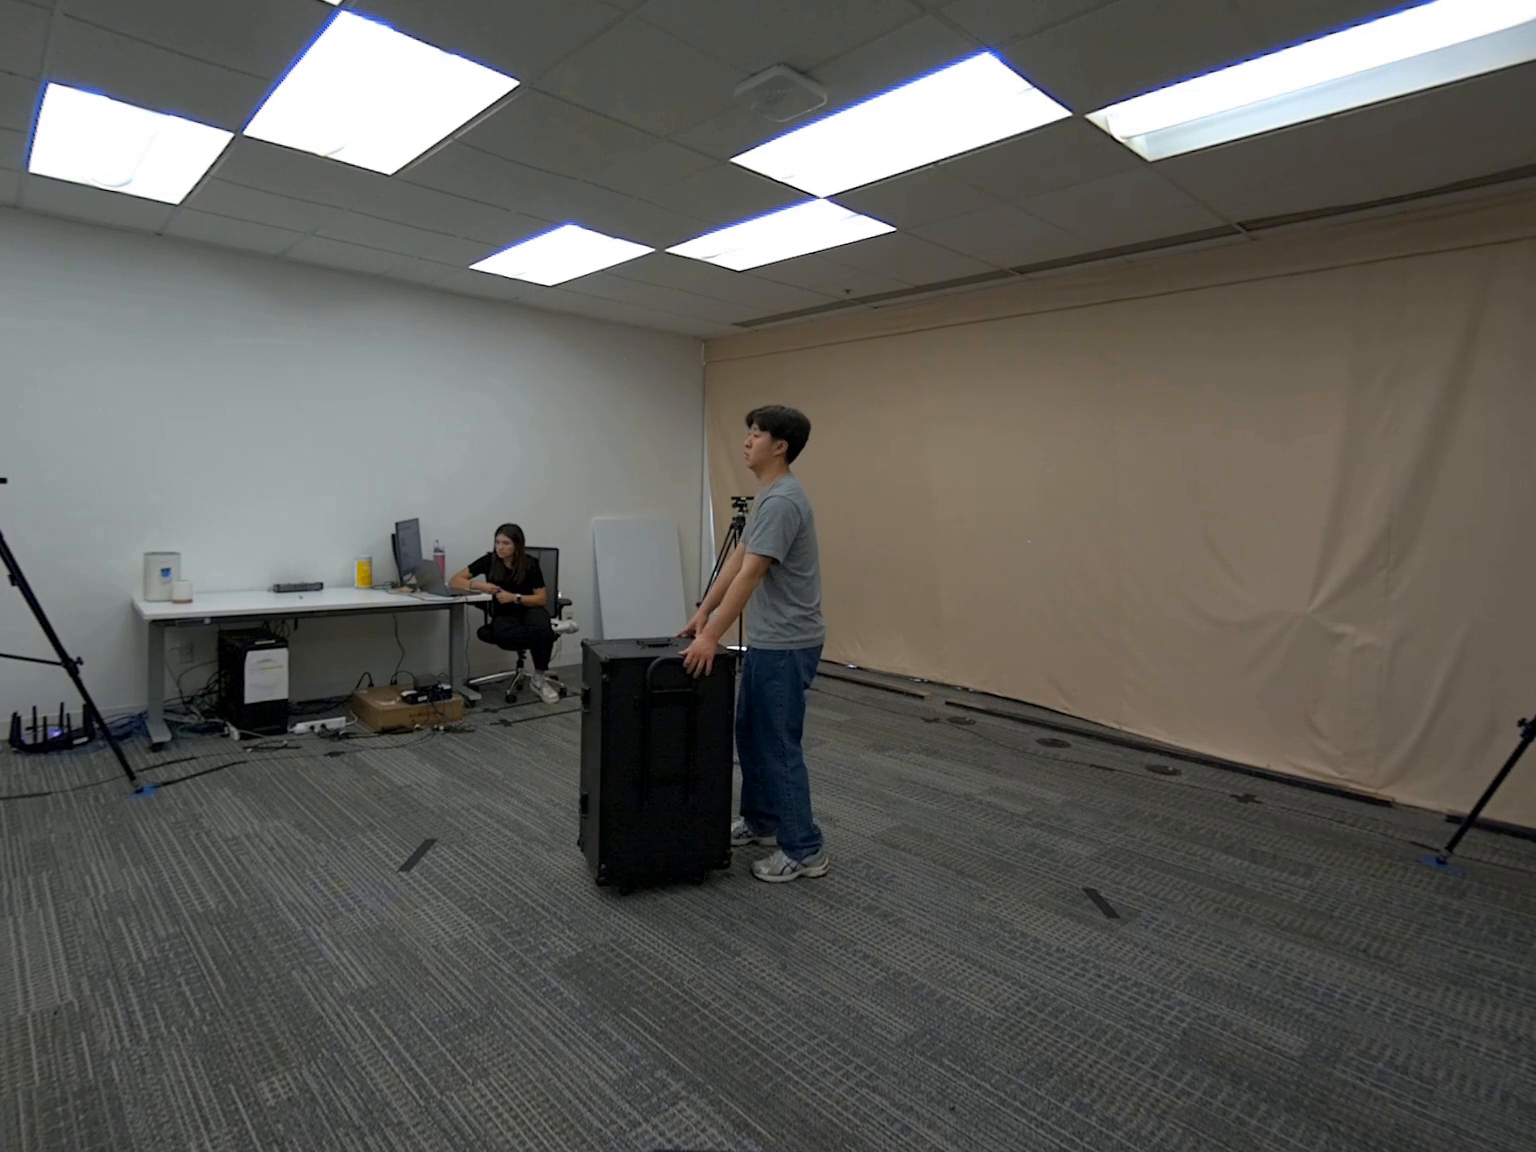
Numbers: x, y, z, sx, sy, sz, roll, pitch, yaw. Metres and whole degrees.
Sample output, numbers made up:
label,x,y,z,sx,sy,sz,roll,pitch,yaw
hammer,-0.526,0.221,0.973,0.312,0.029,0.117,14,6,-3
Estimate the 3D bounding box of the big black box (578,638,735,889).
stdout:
label,x,y,z,sx,sy,sz,roll,pitch,yaw
big black box,-0.407,0.682,3.056,0.513,0.858,0.404,0,5,-21
